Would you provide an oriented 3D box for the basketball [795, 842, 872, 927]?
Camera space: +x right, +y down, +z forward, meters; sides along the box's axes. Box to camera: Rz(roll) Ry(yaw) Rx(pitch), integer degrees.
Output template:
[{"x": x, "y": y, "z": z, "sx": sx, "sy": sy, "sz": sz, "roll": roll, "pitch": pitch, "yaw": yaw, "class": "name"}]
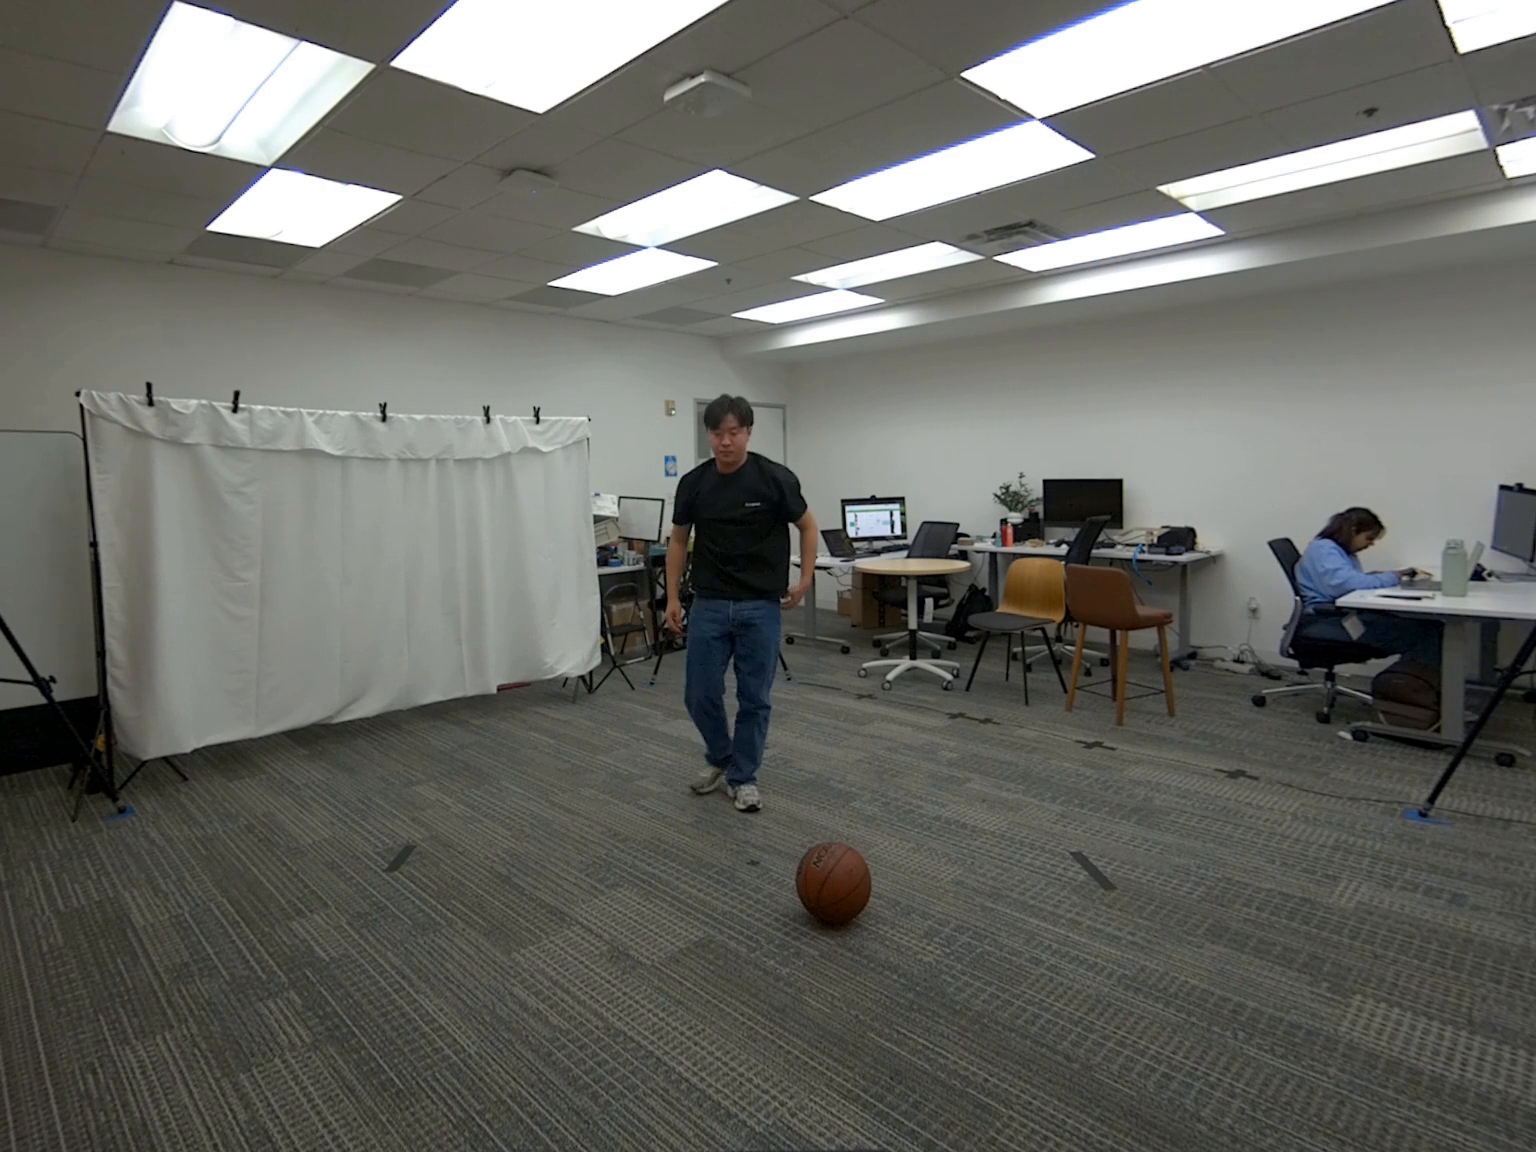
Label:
[{"x": 0.209, "y": 0.959, "z": 2.697, "sx": 0.236, "sy": 0.235, "sz": 0.237, "roll": -1, "pitch": 5, "yaw": -2, "class": "basketball"}]
